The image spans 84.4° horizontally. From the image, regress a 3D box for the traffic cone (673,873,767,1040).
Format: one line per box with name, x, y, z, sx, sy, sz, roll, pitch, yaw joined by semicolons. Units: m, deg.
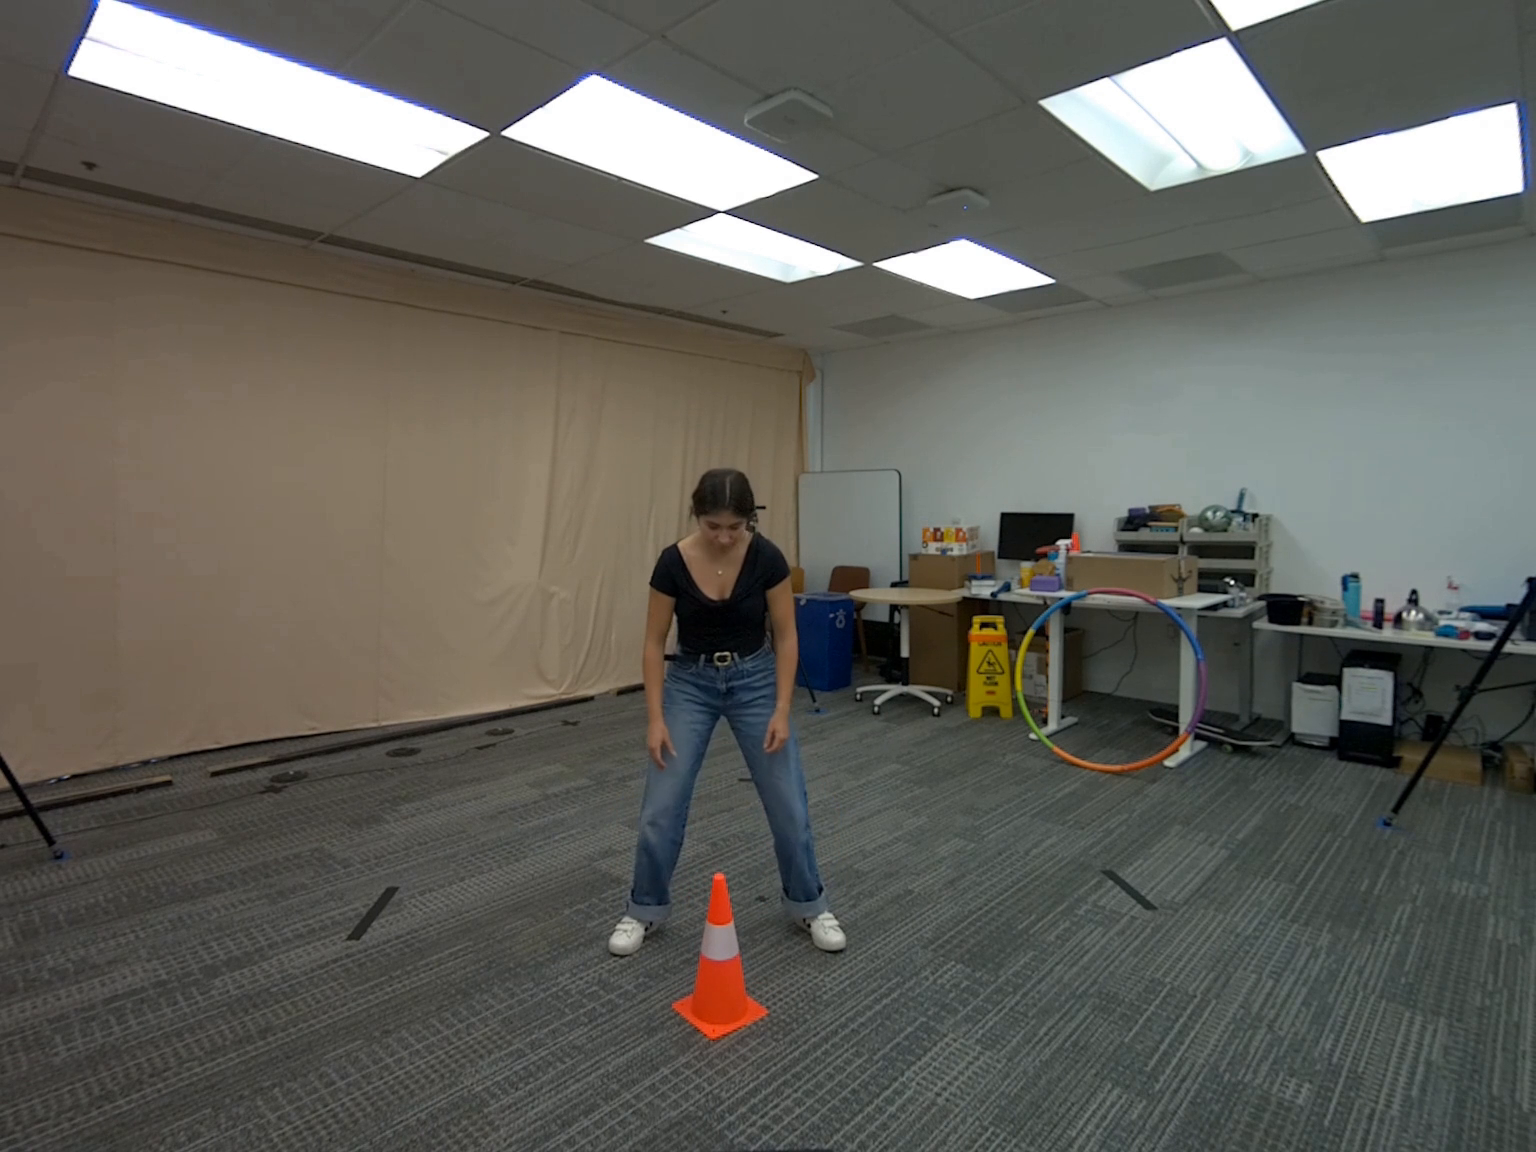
traffic cone;-0.126;1.018;2.307;0.197;0.382;0.211;-4;6;-34
